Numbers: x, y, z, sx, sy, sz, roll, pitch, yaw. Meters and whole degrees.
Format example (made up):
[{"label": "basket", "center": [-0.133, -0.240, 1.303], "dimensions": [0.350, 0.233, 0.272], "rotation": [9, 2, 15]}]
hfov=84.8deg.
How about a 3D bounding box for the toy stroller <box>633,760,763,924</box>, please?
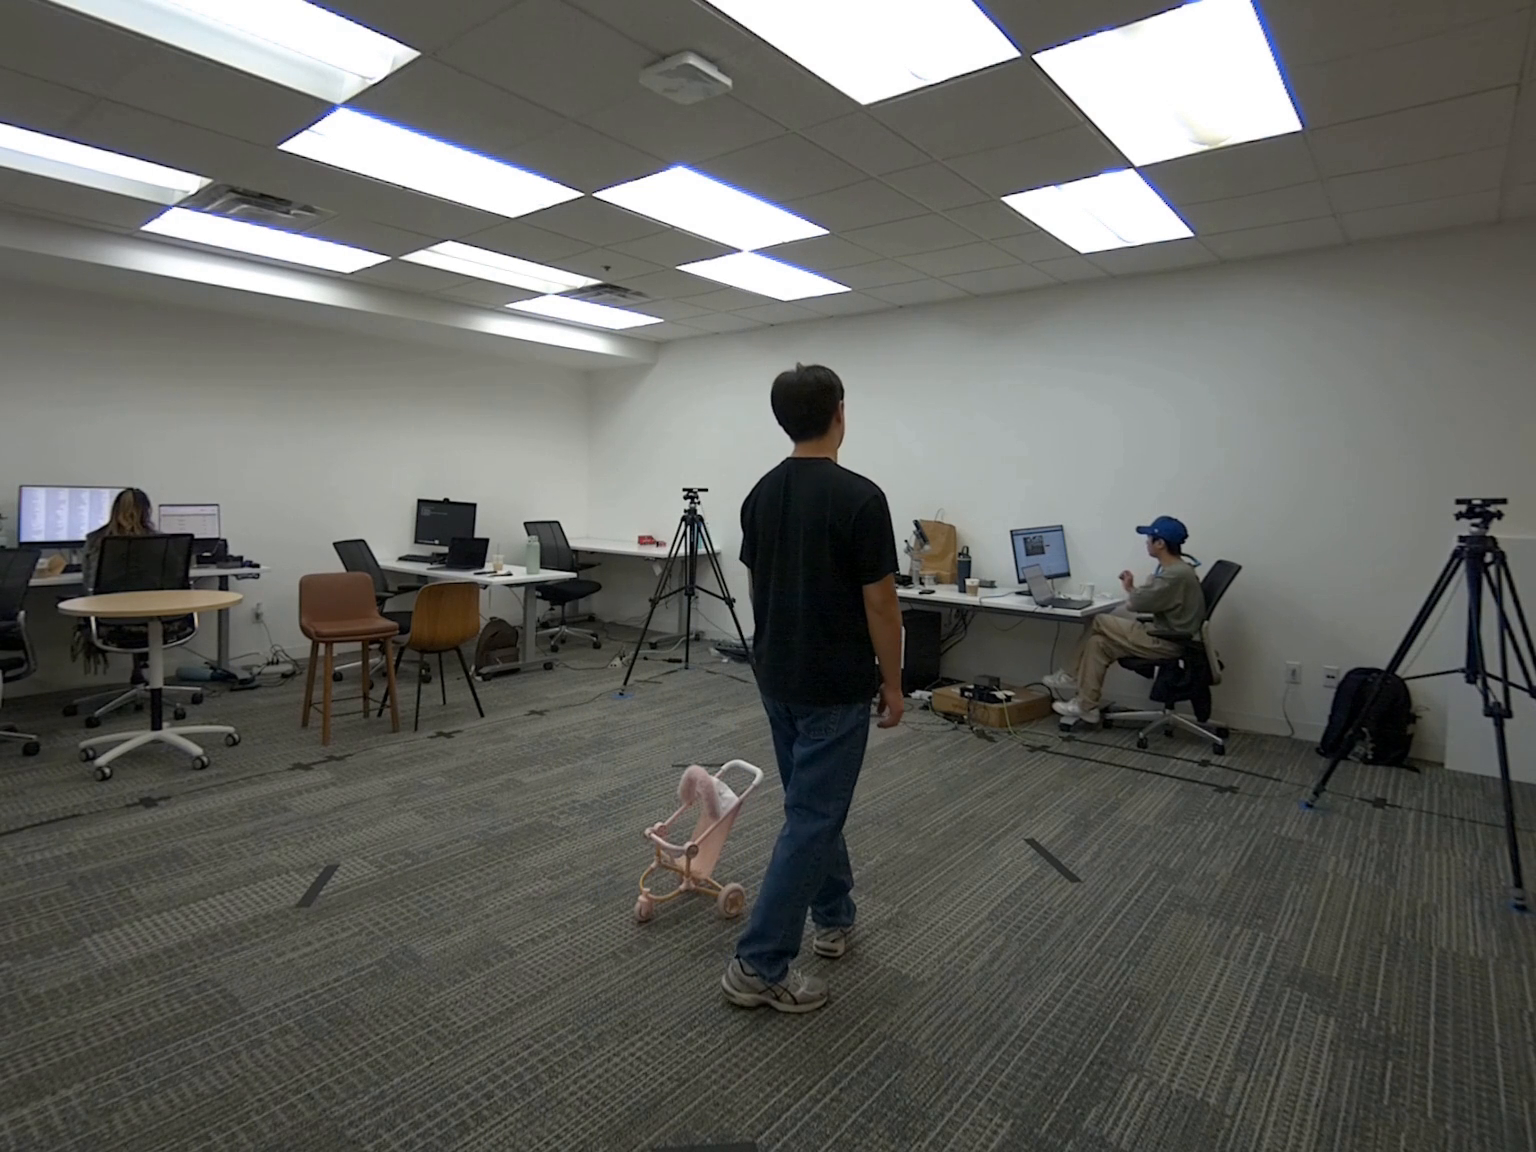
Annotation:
[{"label": "toy stroller", "center": [-0.254, 0.869, 2.820], "dimensions": [0.330, 0.536, 0.290], "rotation": [16, -5, -31]}]
